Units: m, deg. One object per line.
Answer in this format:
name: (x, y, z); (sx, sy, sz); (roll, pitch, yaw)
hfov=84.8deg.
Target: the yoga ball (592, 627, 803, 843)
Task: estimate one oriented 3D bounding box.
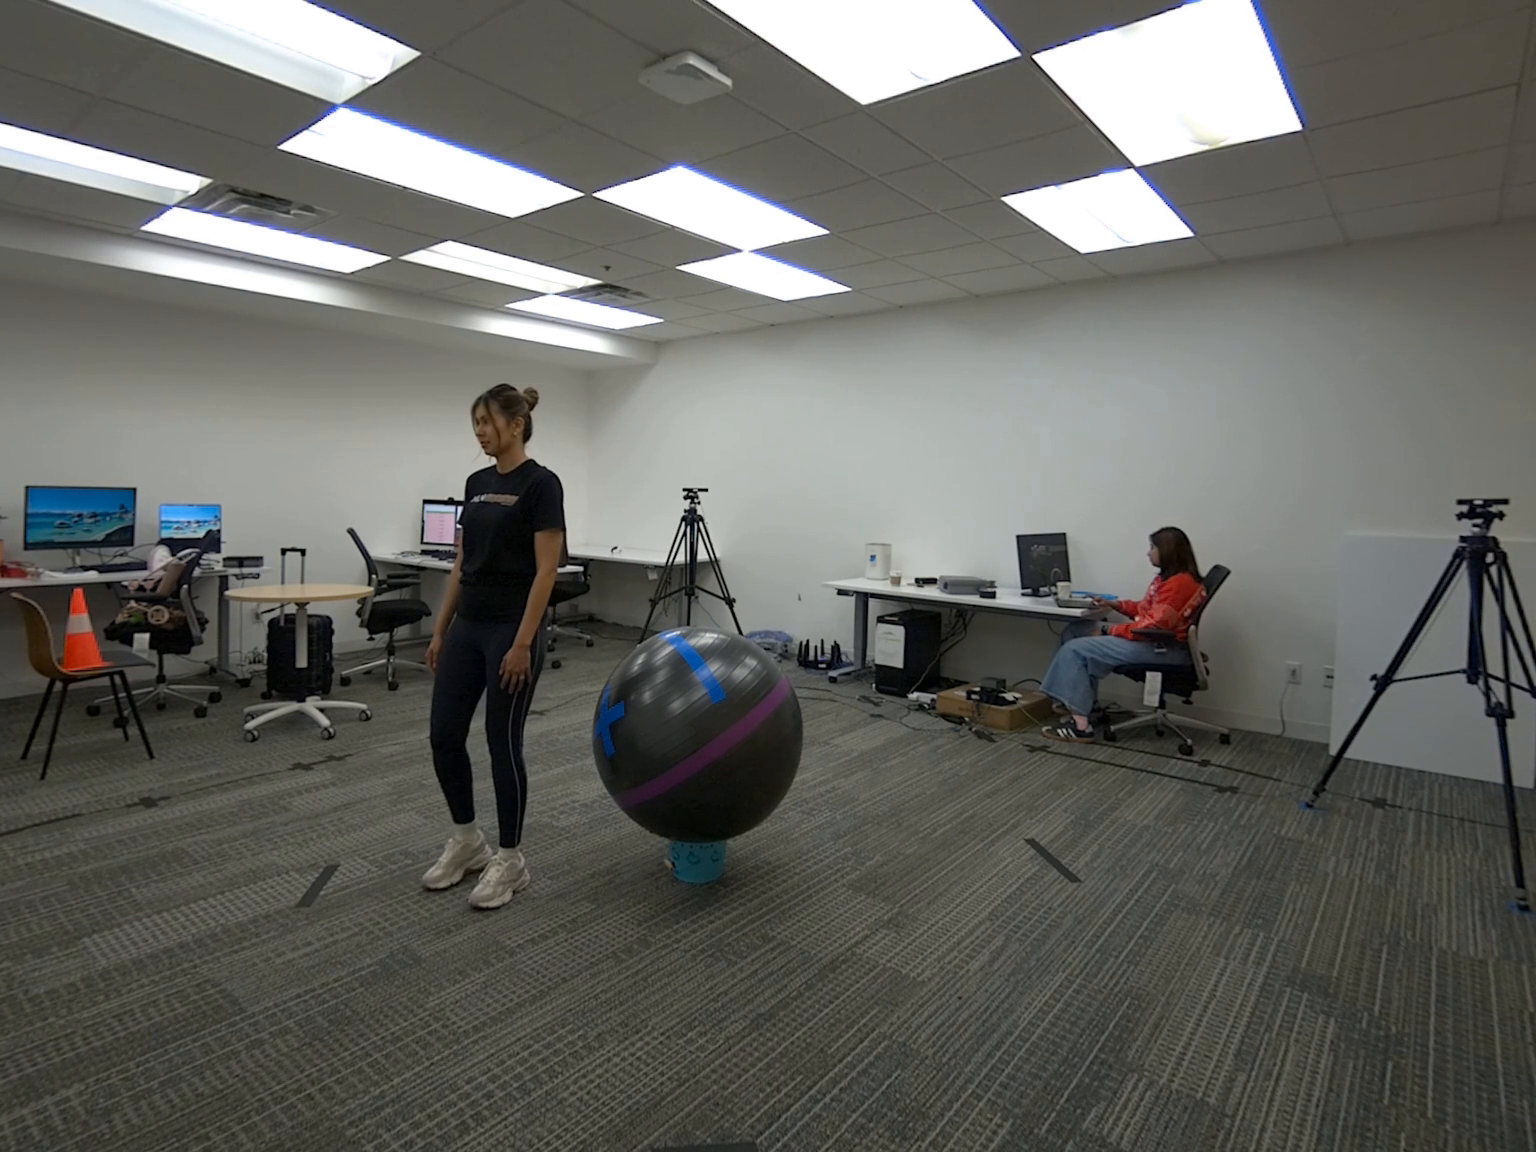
yoga ball: (-0.257, 0.566, 3.069); (0.757, 0.755, 0.762); (1, 4, -2)
